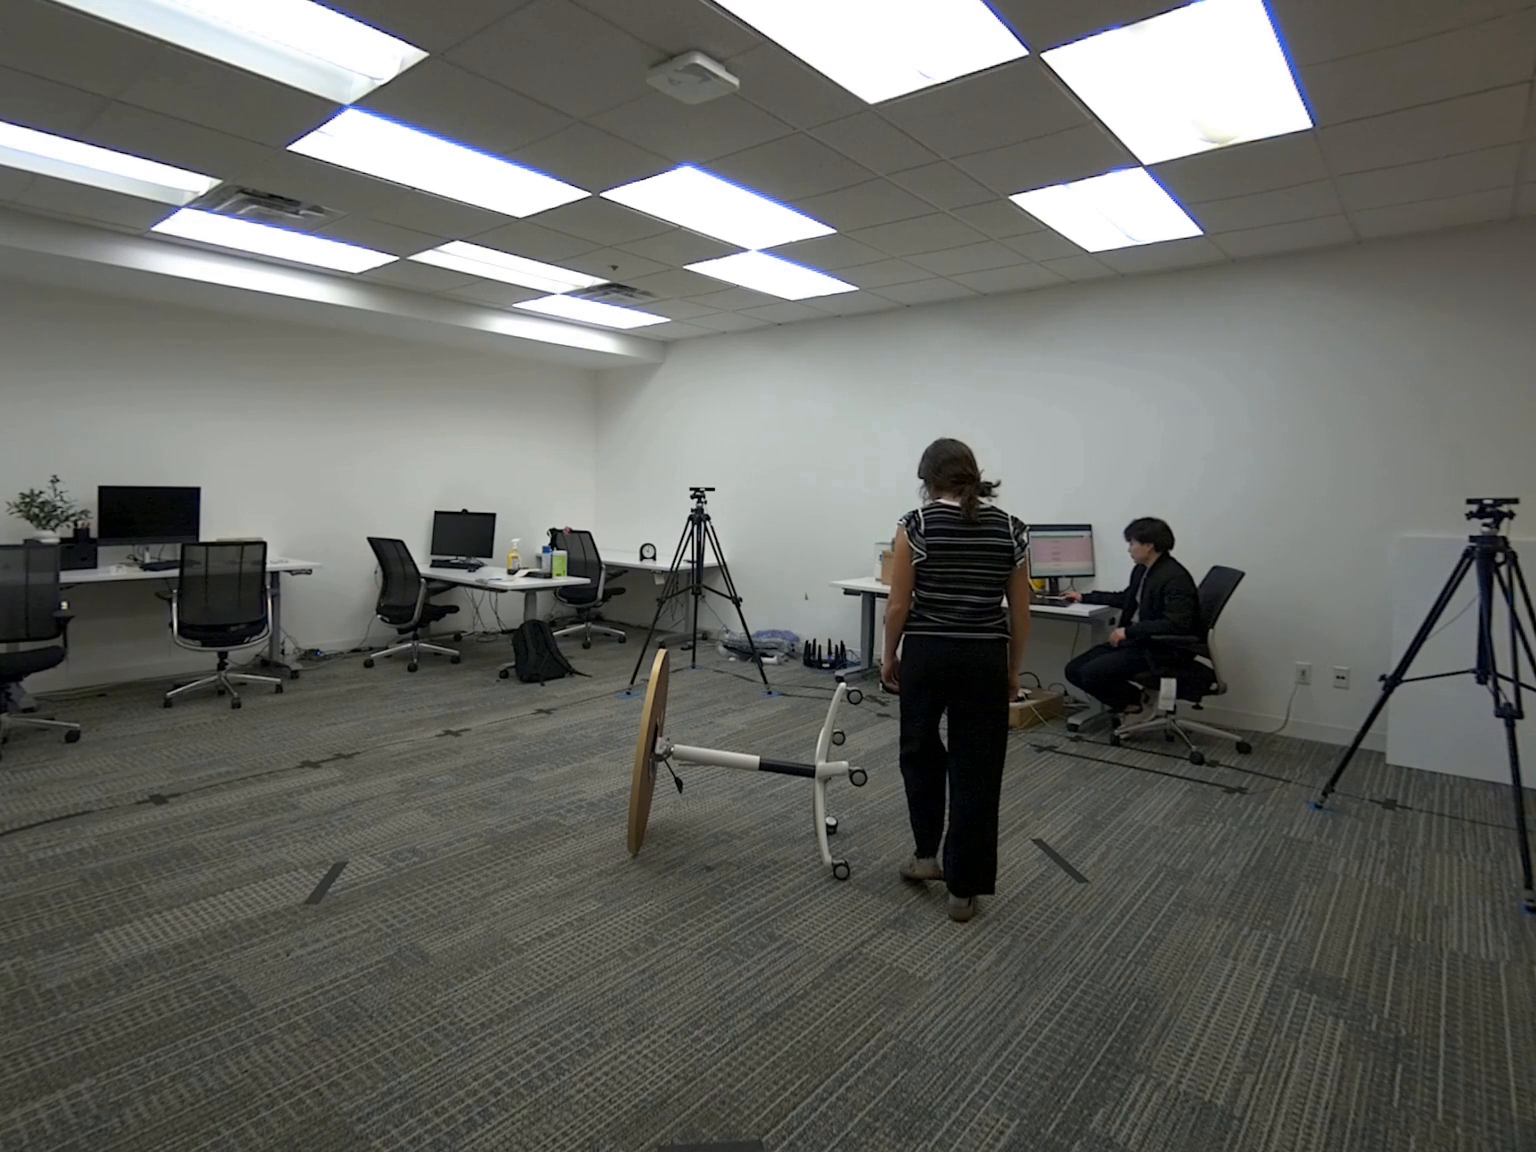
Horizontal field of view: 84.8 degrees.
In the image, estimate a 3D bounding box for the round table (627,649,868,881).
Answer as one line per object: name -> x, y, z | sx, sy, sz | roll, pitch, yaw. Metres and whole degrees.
round table -> -0.081, 0.712, 3.282 | 0.788, 0.783, 0.787 | 7, 4, 0
